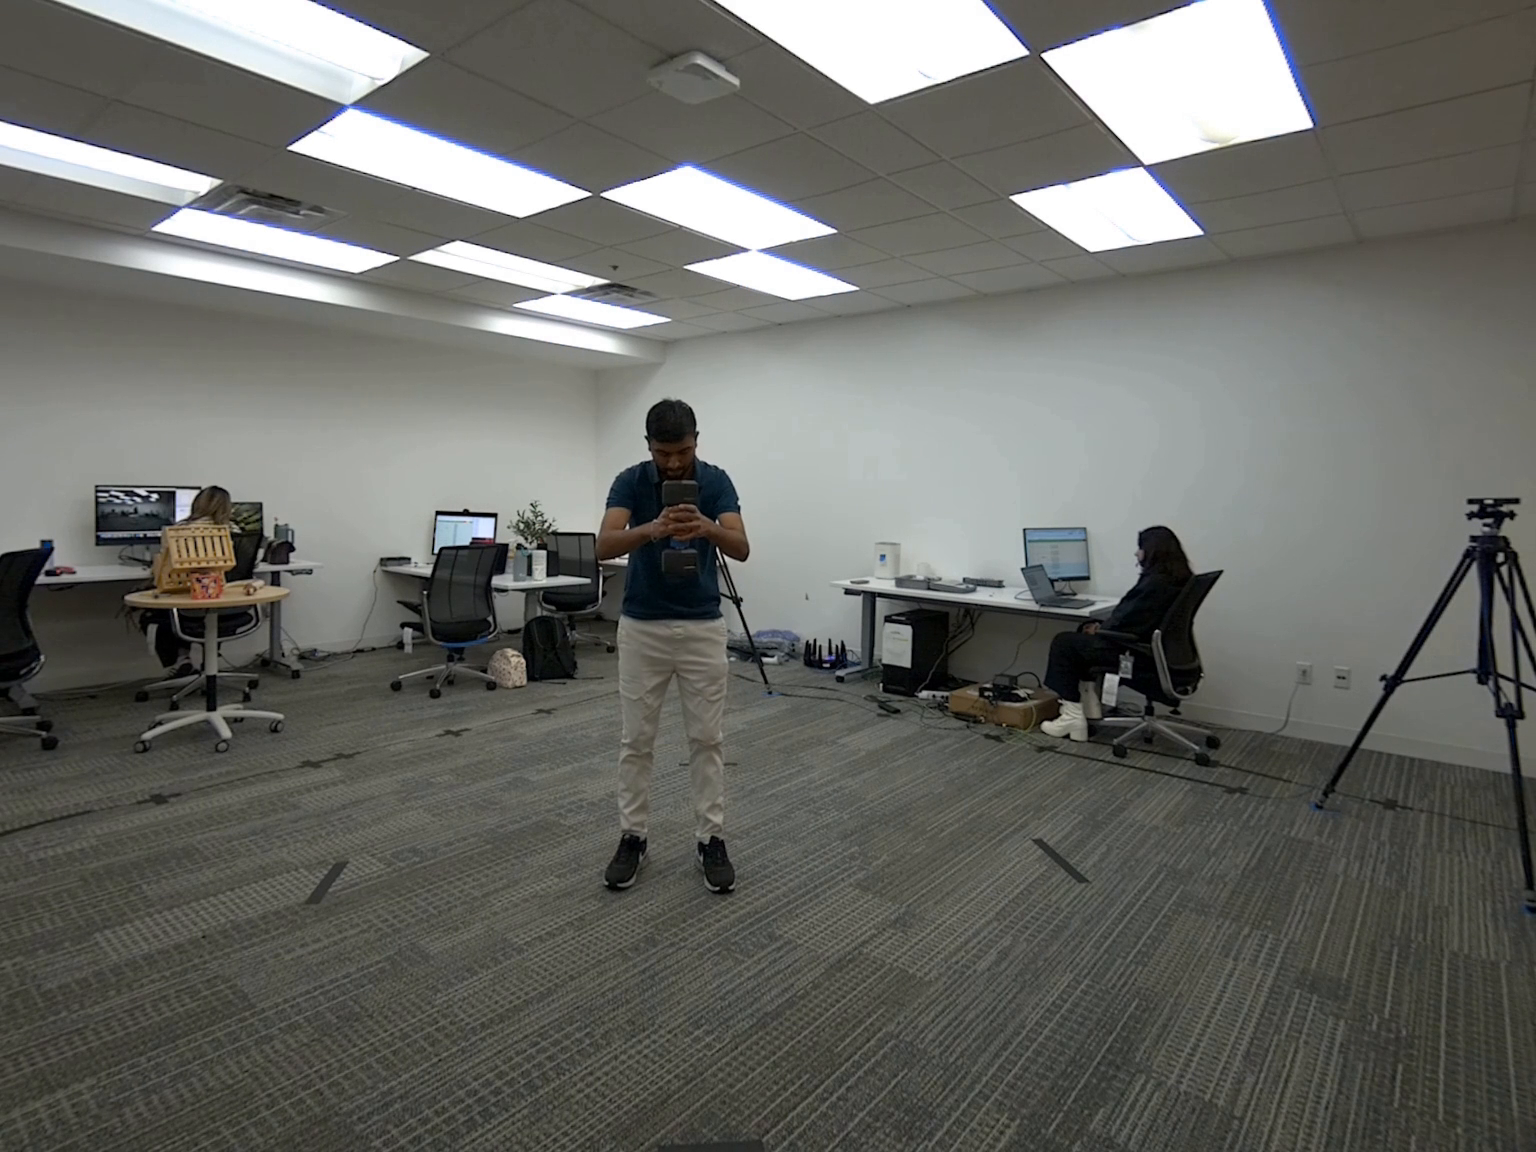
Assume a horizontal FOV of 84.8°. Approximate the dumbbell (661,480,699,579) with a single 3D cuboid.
[{"bbox_3d":[-0.283,-0.152,2.663,0.125,0.293,0.107,0,3,18],"label":"dumbbell"}]
